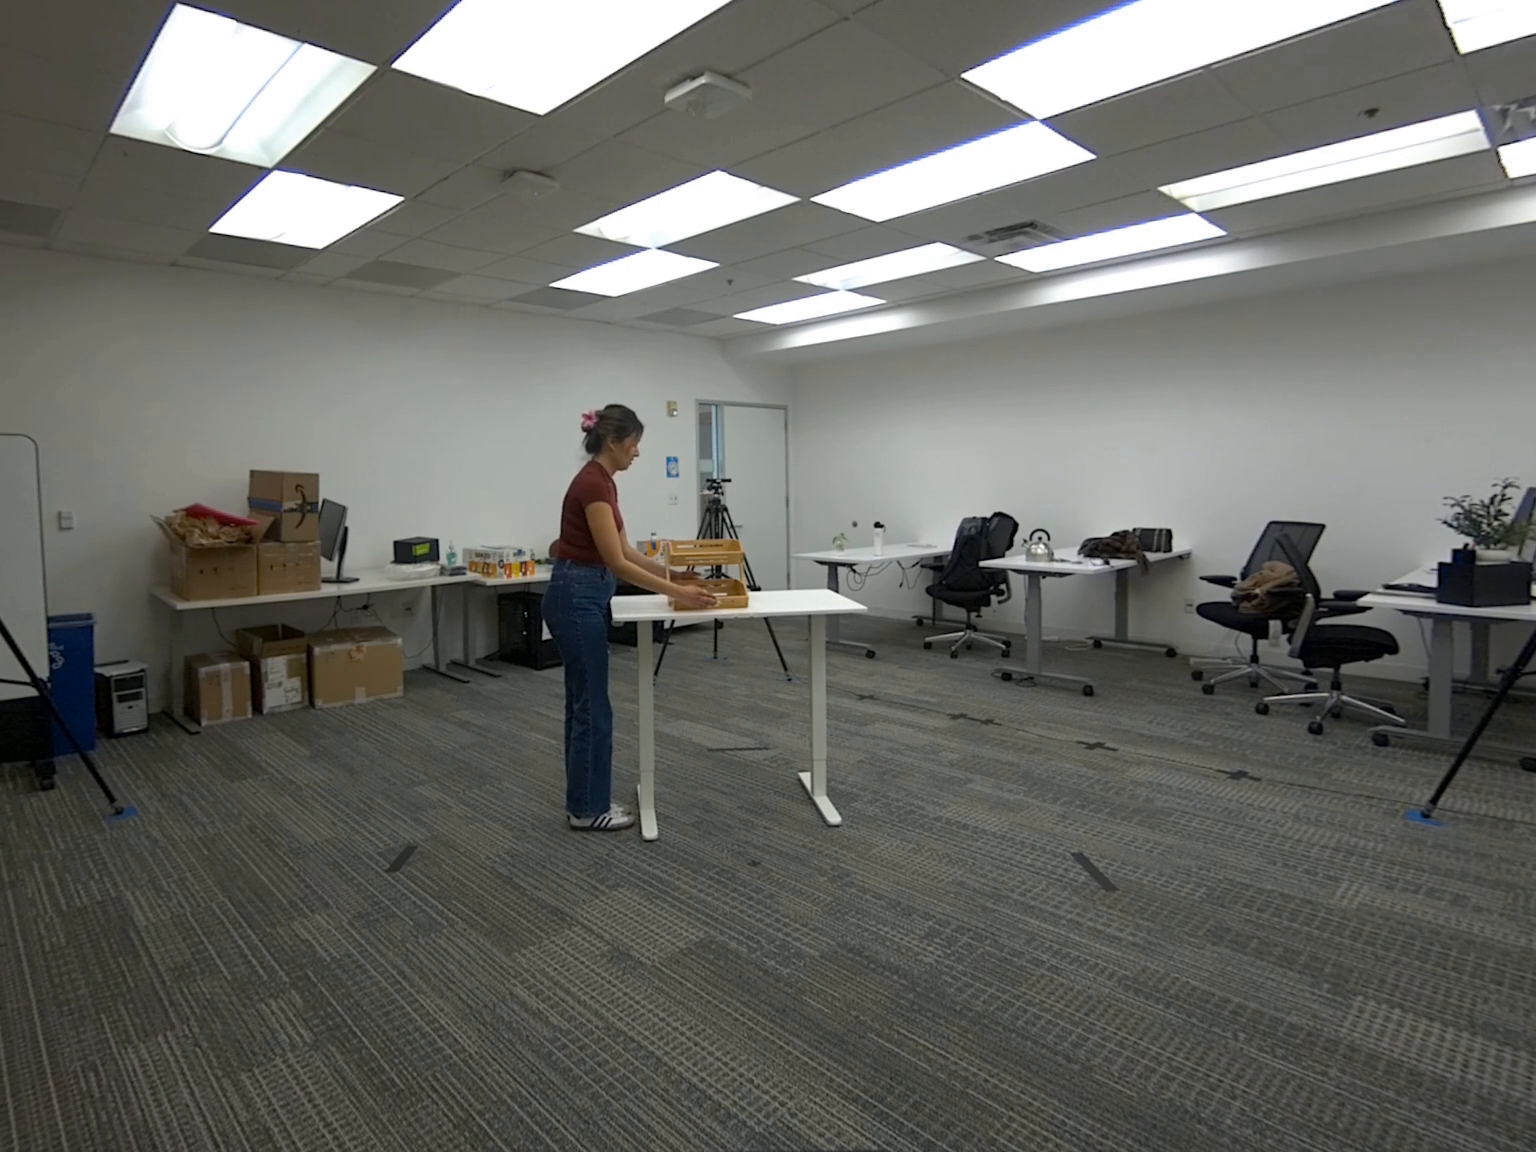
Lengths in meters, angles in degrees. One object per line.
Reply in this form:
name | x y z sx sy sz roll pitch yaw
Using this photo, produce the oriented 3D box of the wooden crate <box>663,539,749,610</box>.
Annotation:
wooden crate | -0.260 -0.014 3.522 0.321 0.272 0.306 -2 5 -12
